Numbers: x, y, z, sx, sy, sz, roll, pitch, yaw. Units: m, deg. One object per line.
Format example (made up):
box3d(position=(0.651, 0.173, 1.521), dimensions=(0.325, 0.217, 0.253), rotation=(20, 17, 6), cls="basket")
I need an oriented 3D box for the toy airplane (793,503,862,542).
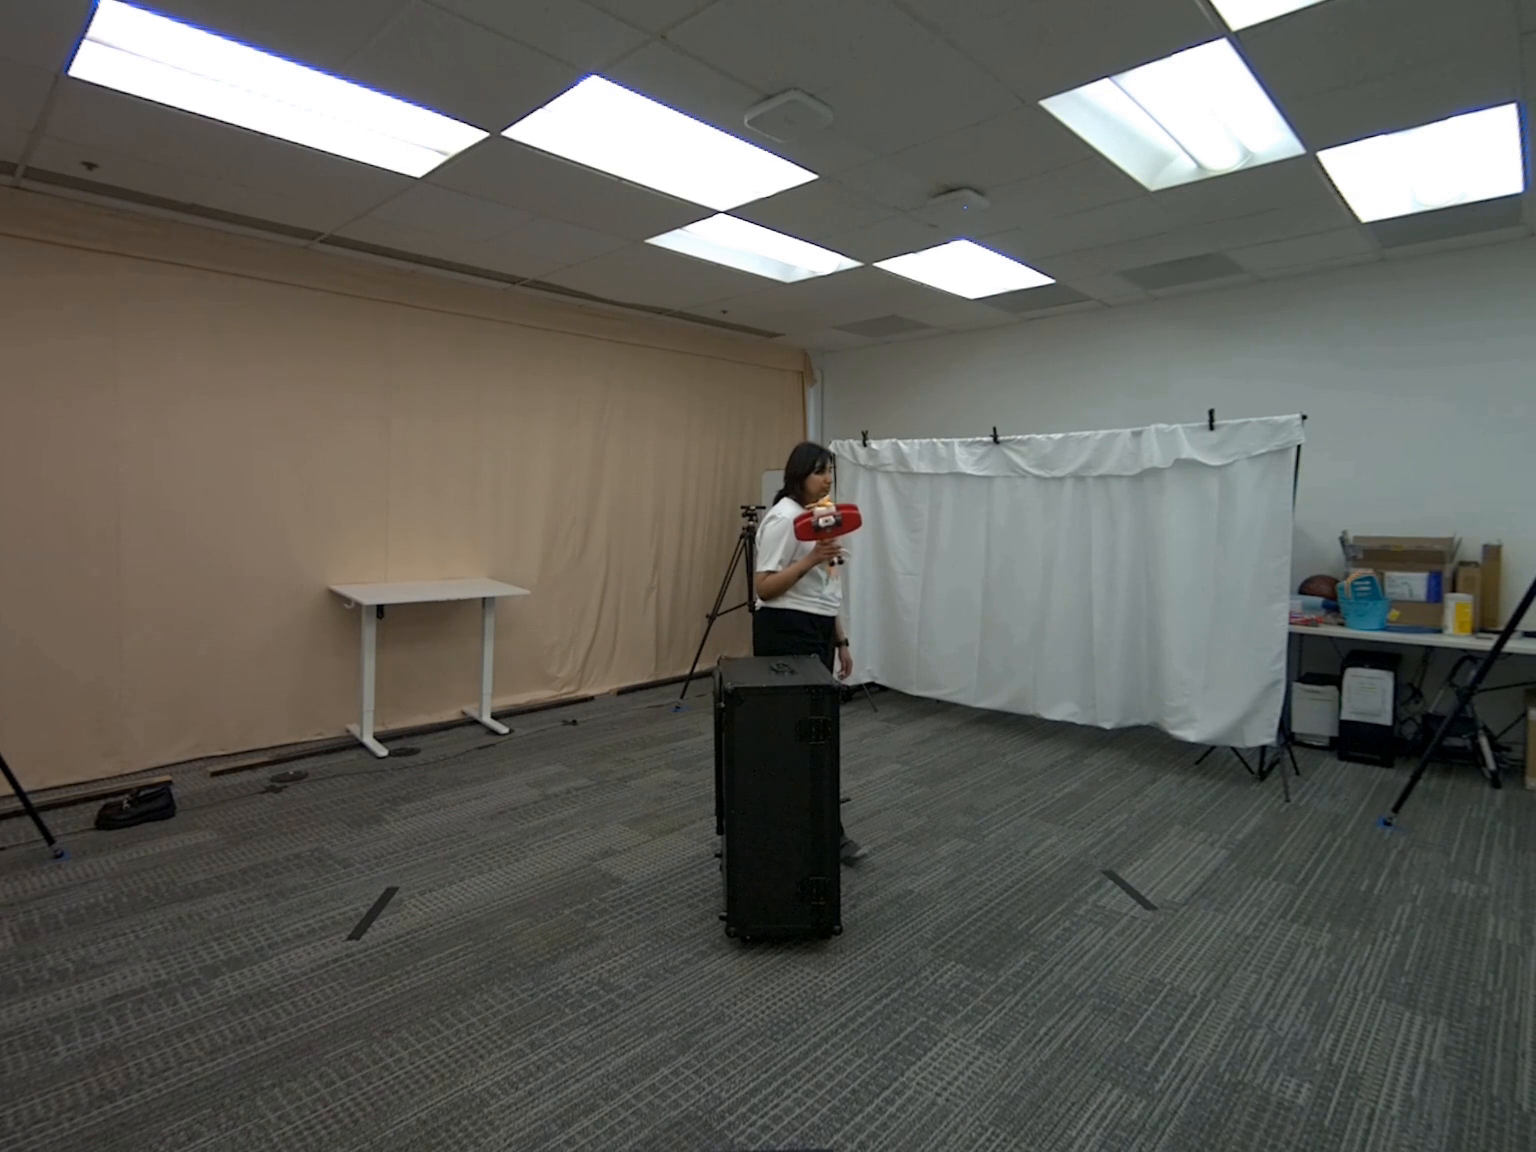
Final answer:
box3d(position=(0.216, -0.161, 3.200), dimensions=(0.248, 0.257, 0.159), rotation=(13, 35, -11), cls="toy airplane")
